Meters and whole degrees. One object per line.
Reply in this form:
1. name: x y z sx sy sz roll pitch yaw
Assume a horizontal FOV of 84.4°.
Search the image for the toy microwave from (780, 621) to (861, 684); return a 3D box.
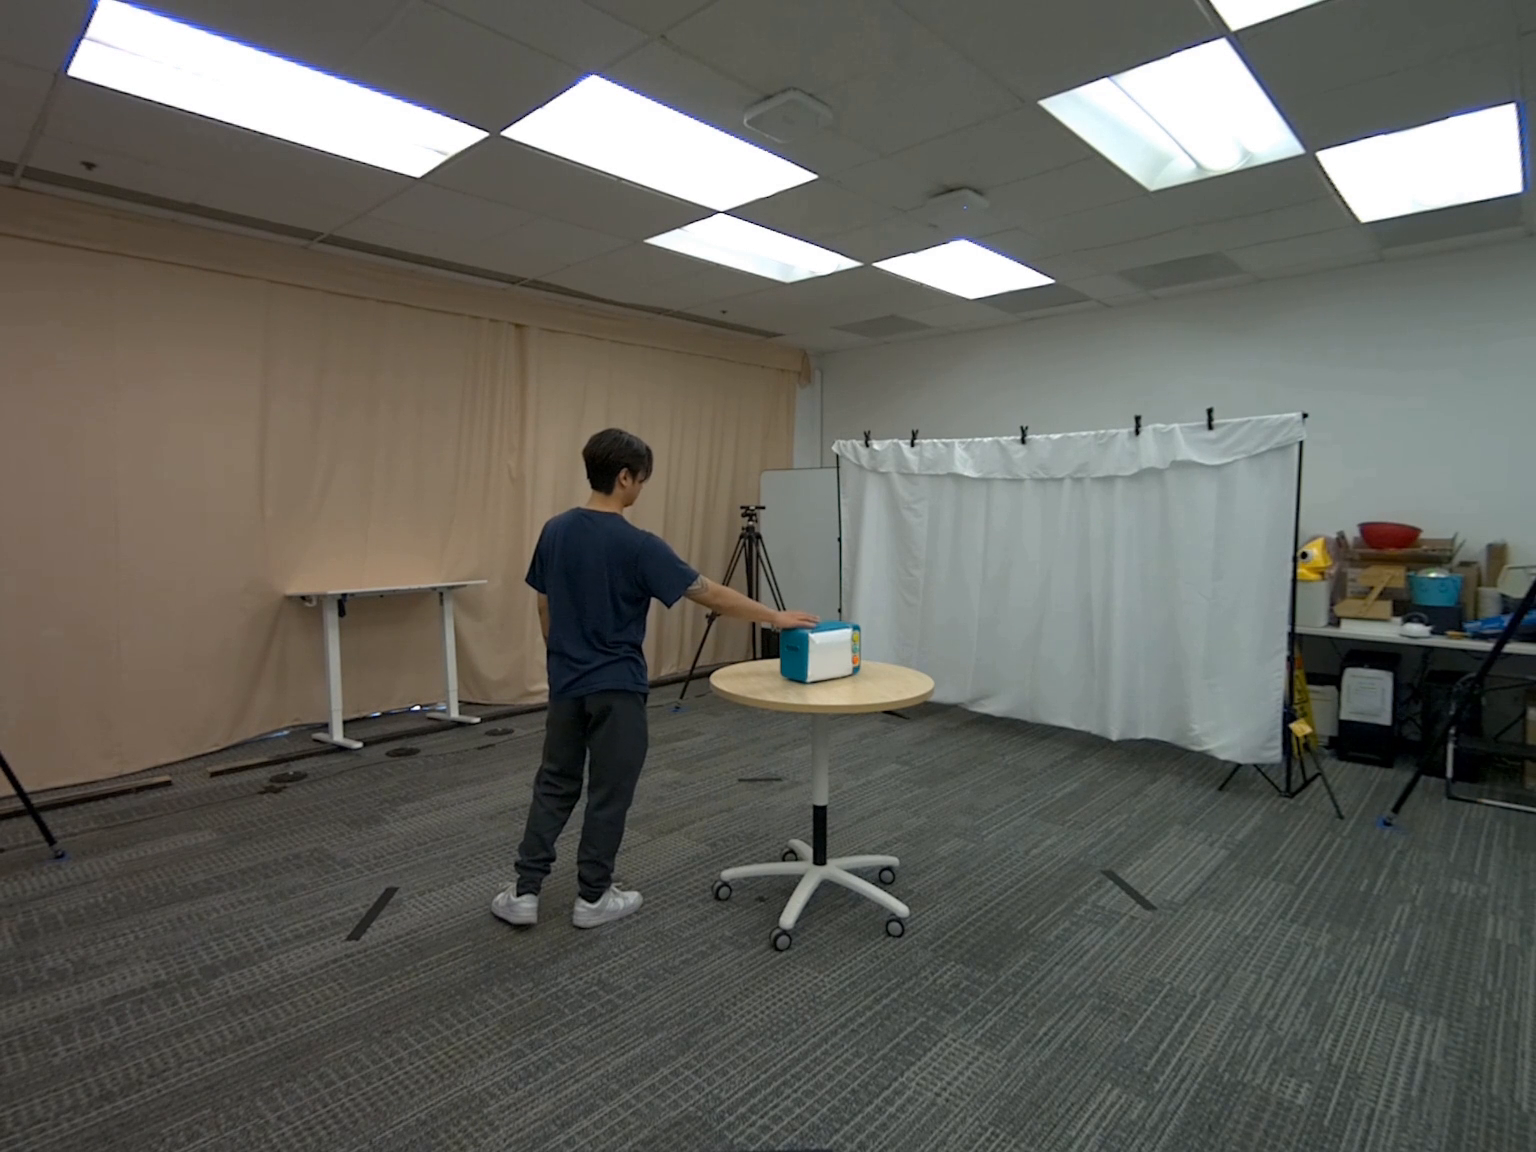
1. toy microwave: 0.196 0.261 2.919 0.278 0.184 0.157 -4 5 -38
